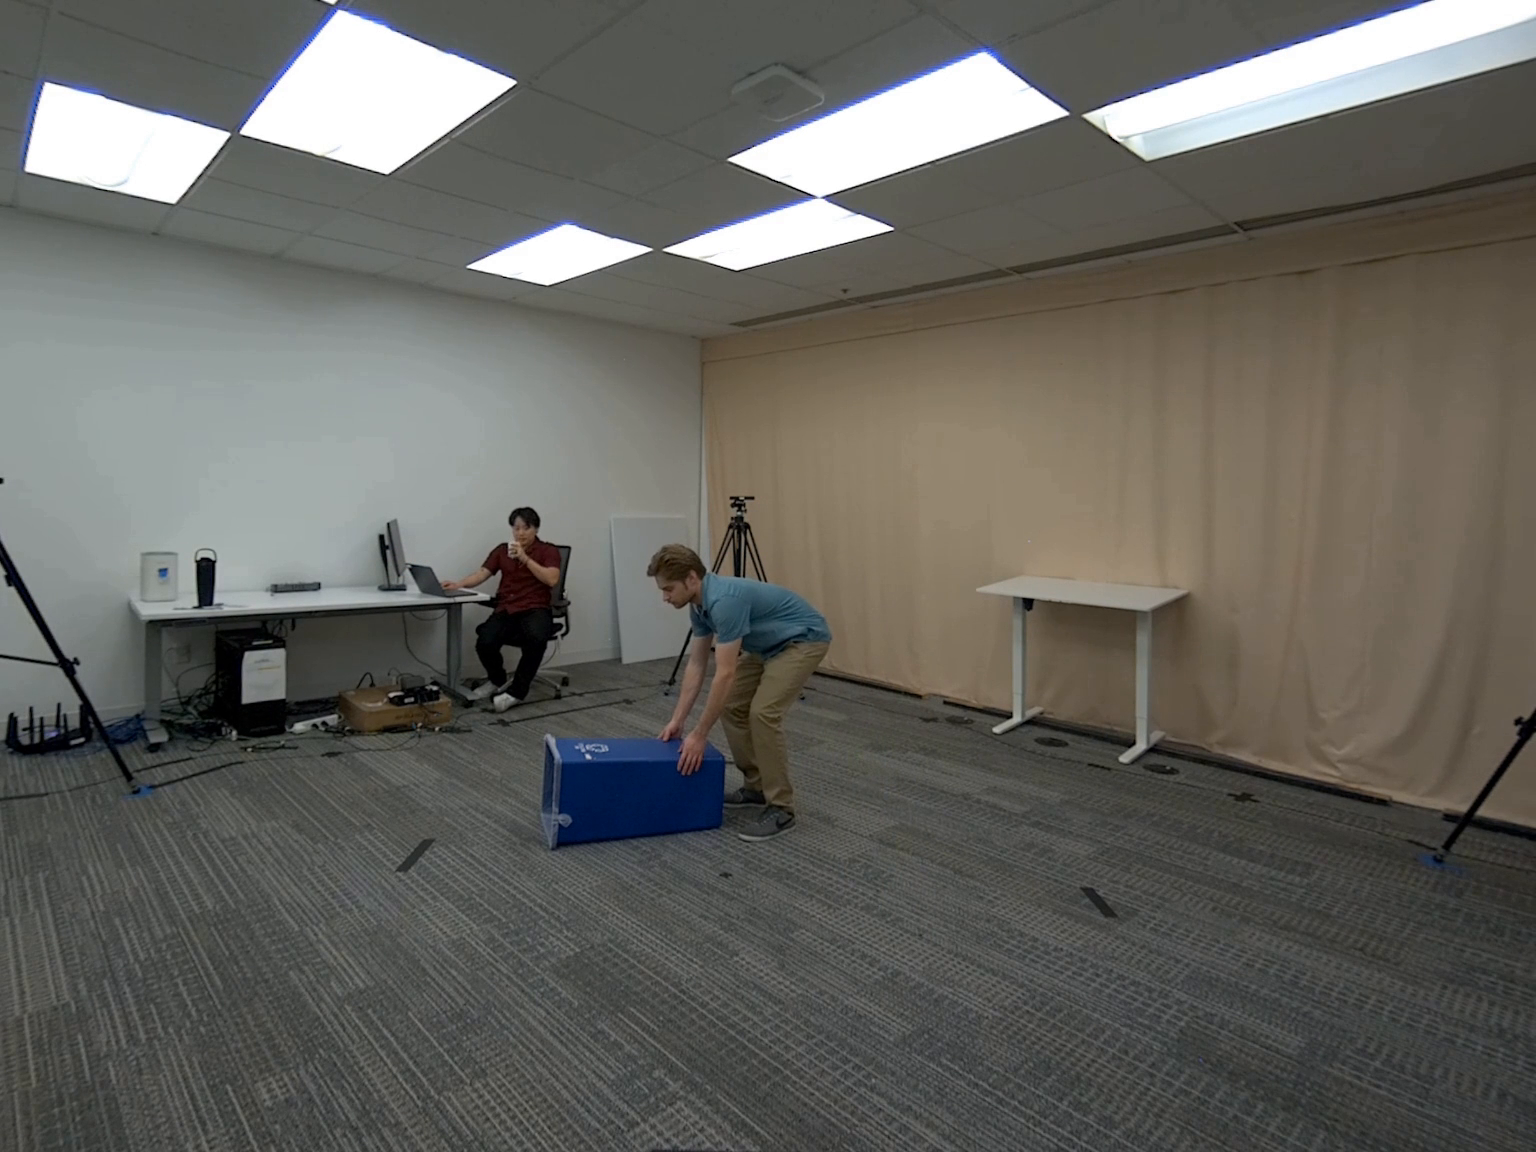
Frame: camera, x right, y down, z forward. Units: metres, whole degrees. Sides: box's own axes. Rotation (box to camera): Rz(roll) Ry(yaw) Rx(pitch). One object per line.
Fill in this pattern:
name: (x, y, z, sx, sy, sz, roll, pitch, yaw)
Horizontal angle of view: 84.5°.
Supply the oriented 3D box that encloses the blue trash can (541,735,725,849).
blue trash can: (-0.586, 0.890, 3.558, 0.702, 0.377, 0.381, 3, 3, -21)
